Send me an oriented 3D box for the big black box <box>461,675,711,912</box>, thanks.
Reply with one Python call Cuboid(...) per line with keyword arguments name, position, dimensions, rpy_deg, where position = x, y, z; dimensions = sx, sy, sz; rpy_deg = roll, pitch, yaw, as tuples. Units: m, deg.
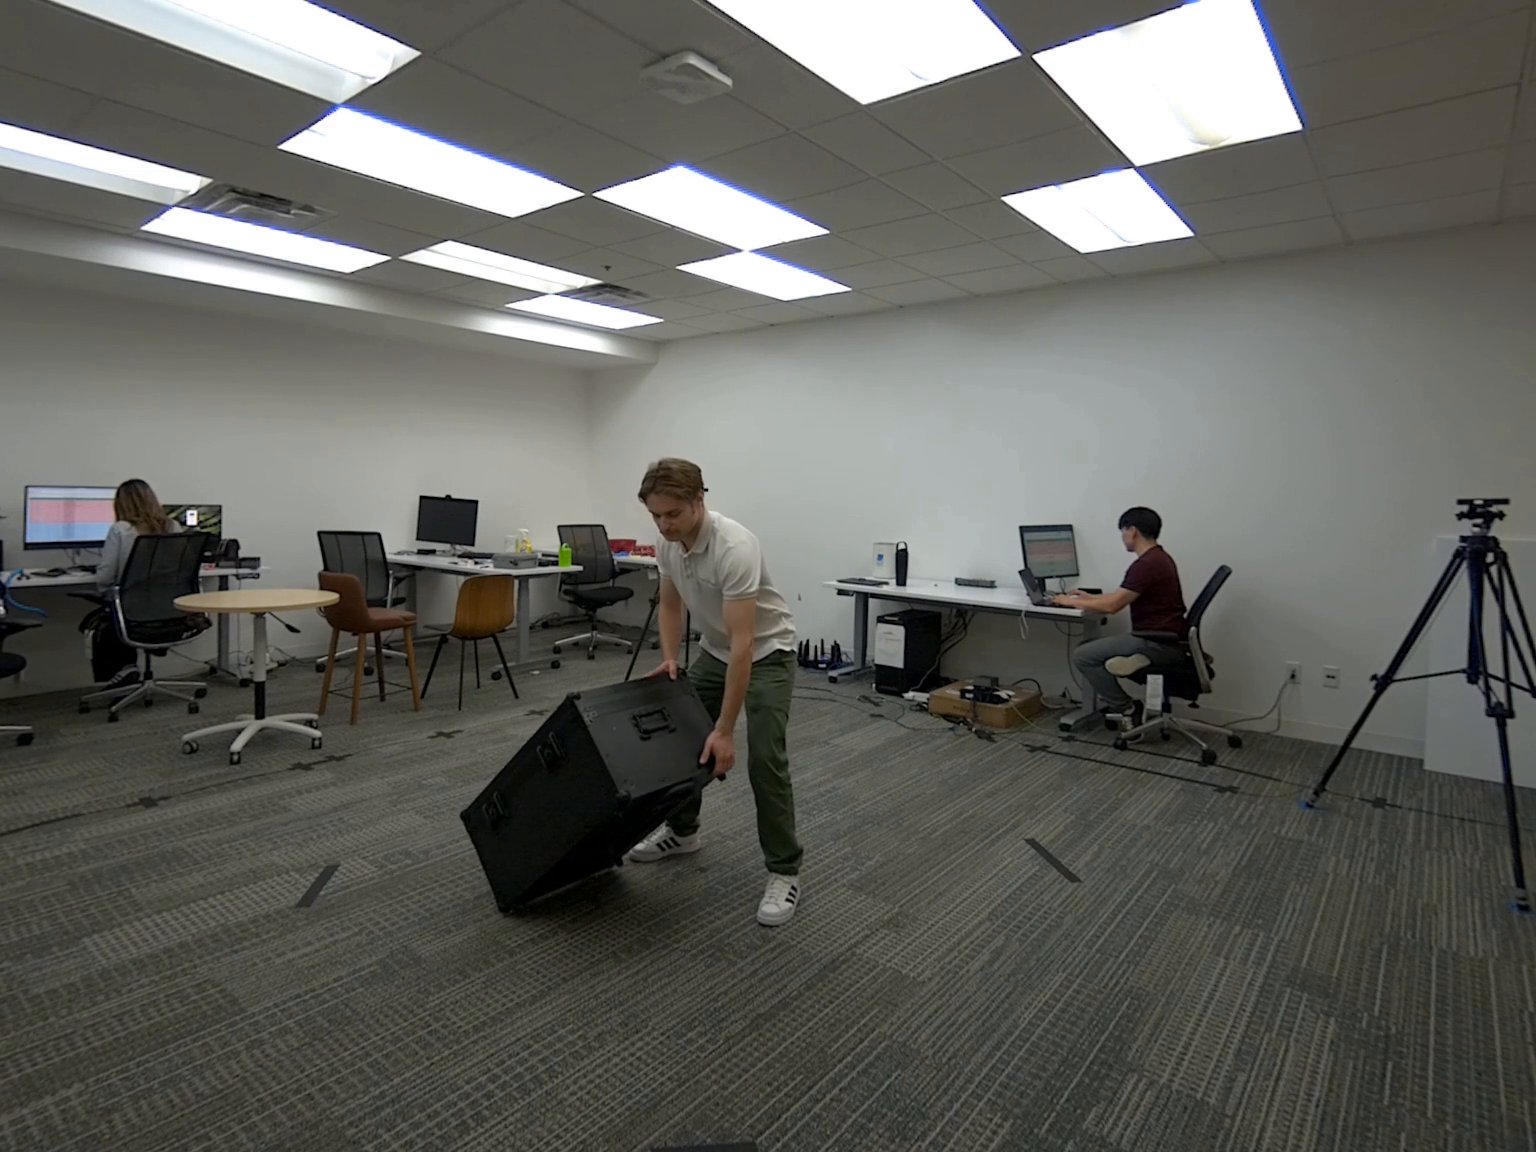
Cuboid(name="big black box", position=(-0.600, 0.725, 2.800), dimensions=(0.506, 0.408, 0.863), rpy_deg=(-4, -34, -51))
